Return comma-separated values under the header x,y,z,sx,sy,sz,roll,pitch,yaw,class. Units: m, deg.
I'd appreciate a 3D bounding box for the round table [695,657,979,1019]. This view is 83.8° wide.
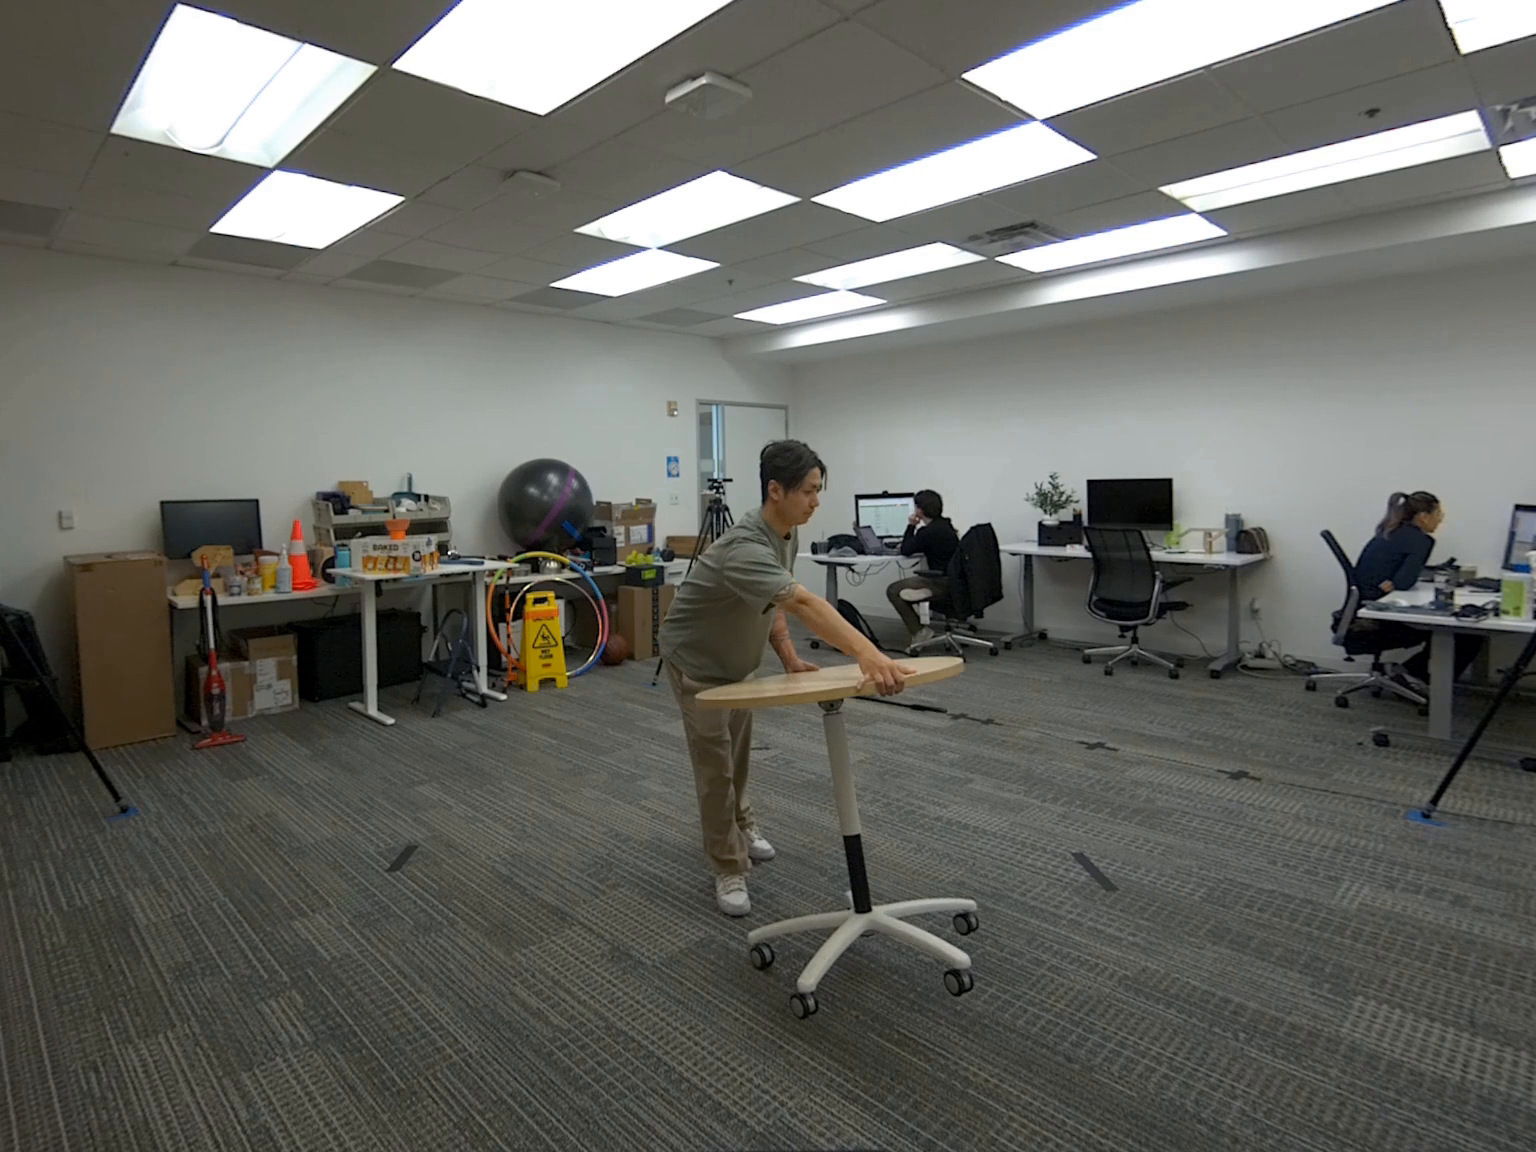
x,y,z,sx,sy,sz,roll,pitch,yaw,class
0.225,0.684,2.400,0.784,0.790,0.782,-8,-4,-2,round table
